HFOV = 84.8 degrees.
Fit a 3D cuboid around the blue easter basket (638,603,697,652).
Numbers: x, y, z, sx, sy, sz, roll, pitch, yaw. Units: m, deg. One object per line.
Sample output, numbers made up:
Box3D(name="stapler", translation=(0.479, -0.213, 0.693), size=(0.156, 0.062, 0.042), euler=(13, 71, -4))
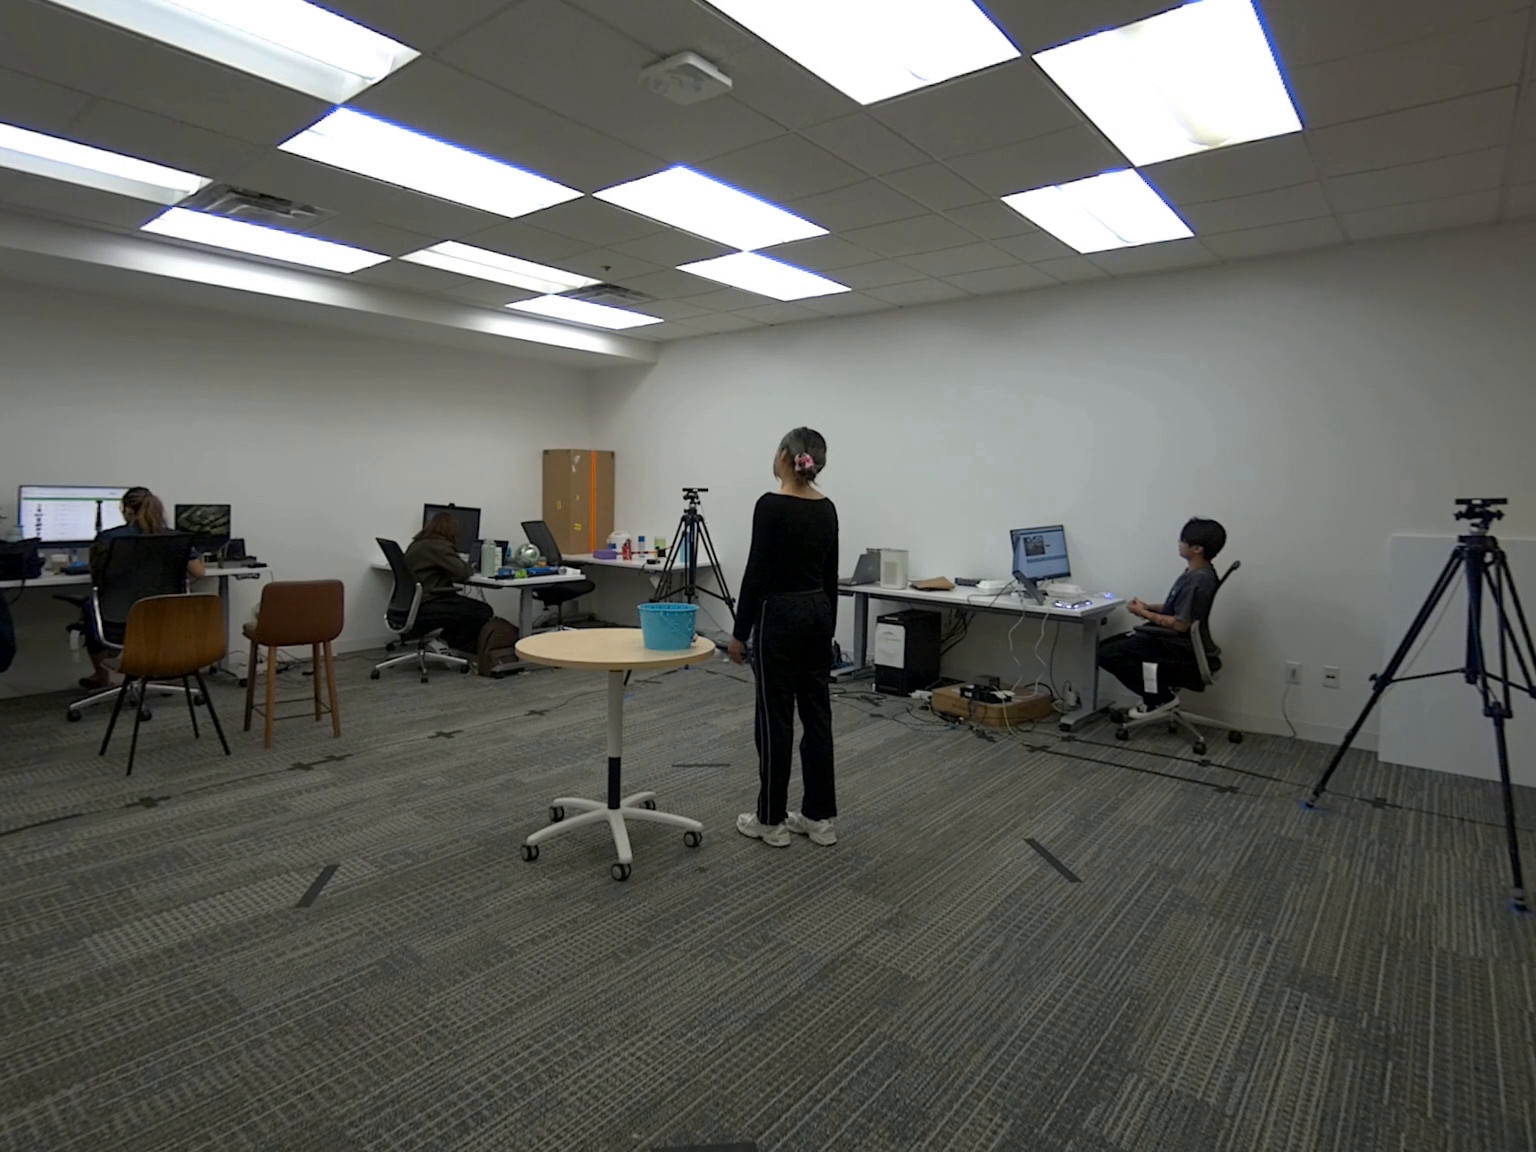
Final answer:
Box3D(name="blue easter basket", translation=(-0.397, 0.195, 3.254), size=(0.243, 0.155, 0.244), euler=(-1, 3, -2))
